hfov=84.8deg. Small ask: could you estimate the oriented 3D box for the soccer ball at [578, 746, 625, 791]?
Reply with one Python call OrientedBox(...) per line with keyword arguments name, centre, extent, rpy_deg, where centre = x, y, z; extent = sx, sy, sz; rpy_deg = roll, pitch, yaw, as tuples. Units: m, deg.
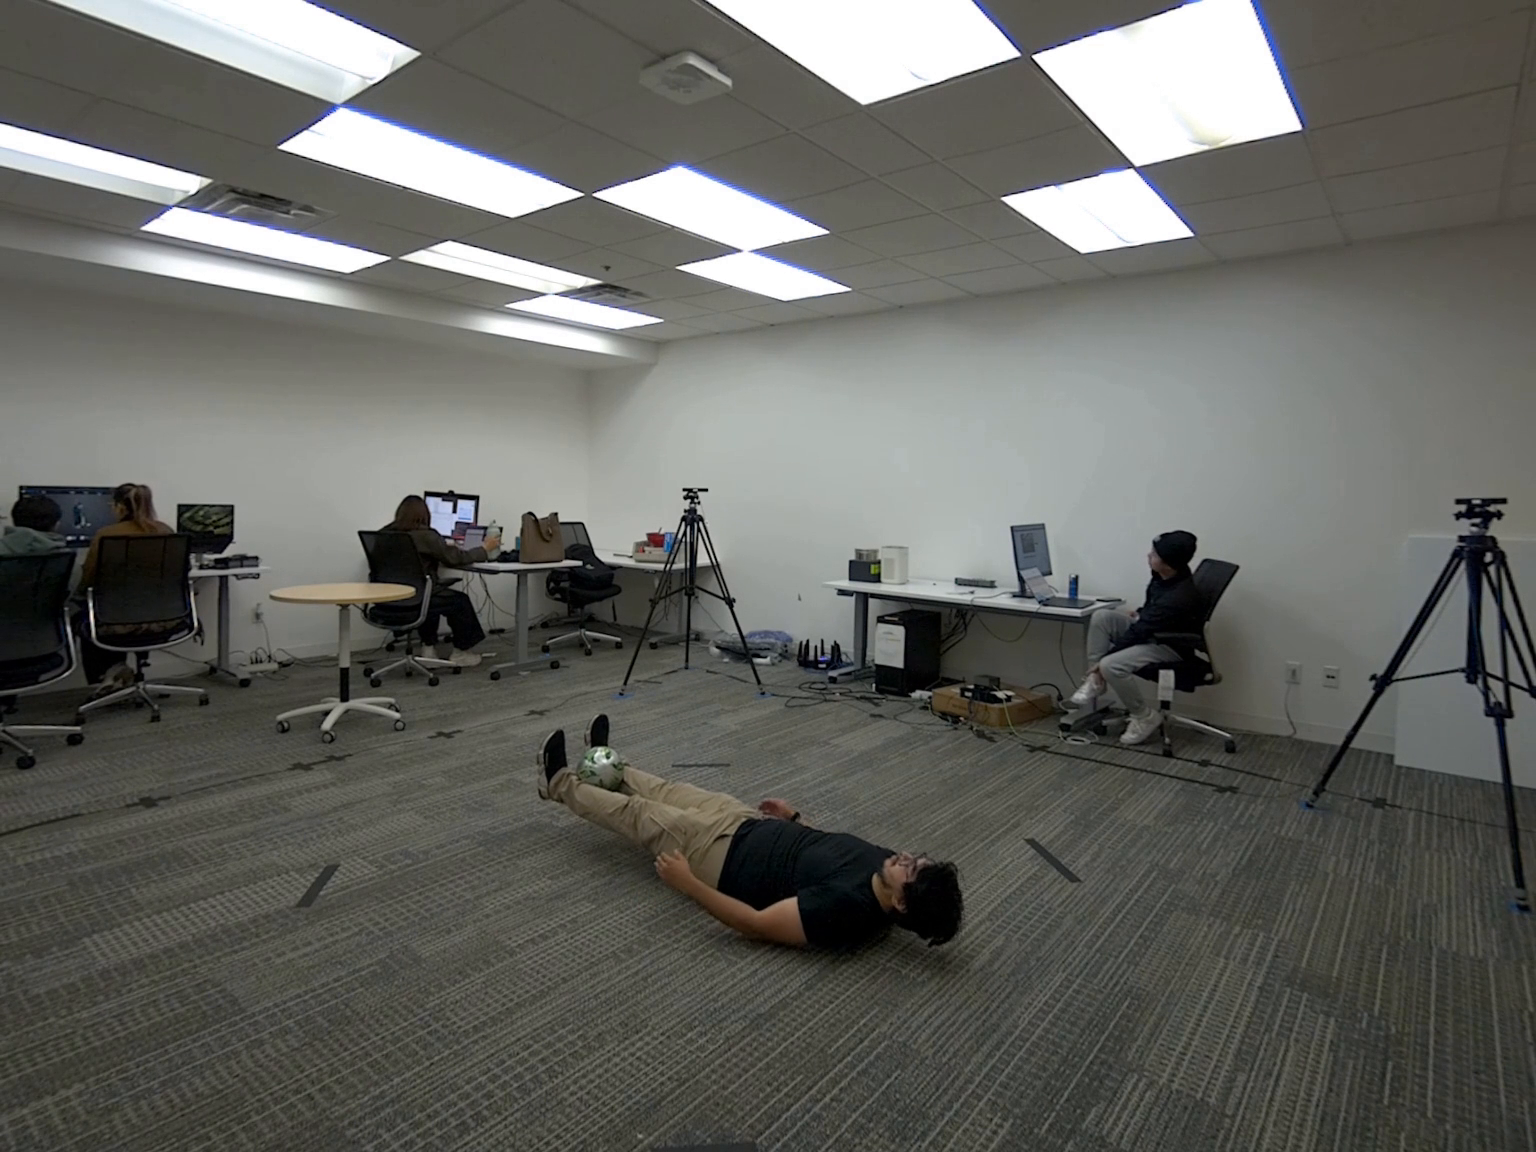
OrientedBox(name="soccer ball", centre=(-0.680, 0.773, 3.372), extent=(0.187, 0.187, 0.188), rpy_deg=(0, 4, -2))
